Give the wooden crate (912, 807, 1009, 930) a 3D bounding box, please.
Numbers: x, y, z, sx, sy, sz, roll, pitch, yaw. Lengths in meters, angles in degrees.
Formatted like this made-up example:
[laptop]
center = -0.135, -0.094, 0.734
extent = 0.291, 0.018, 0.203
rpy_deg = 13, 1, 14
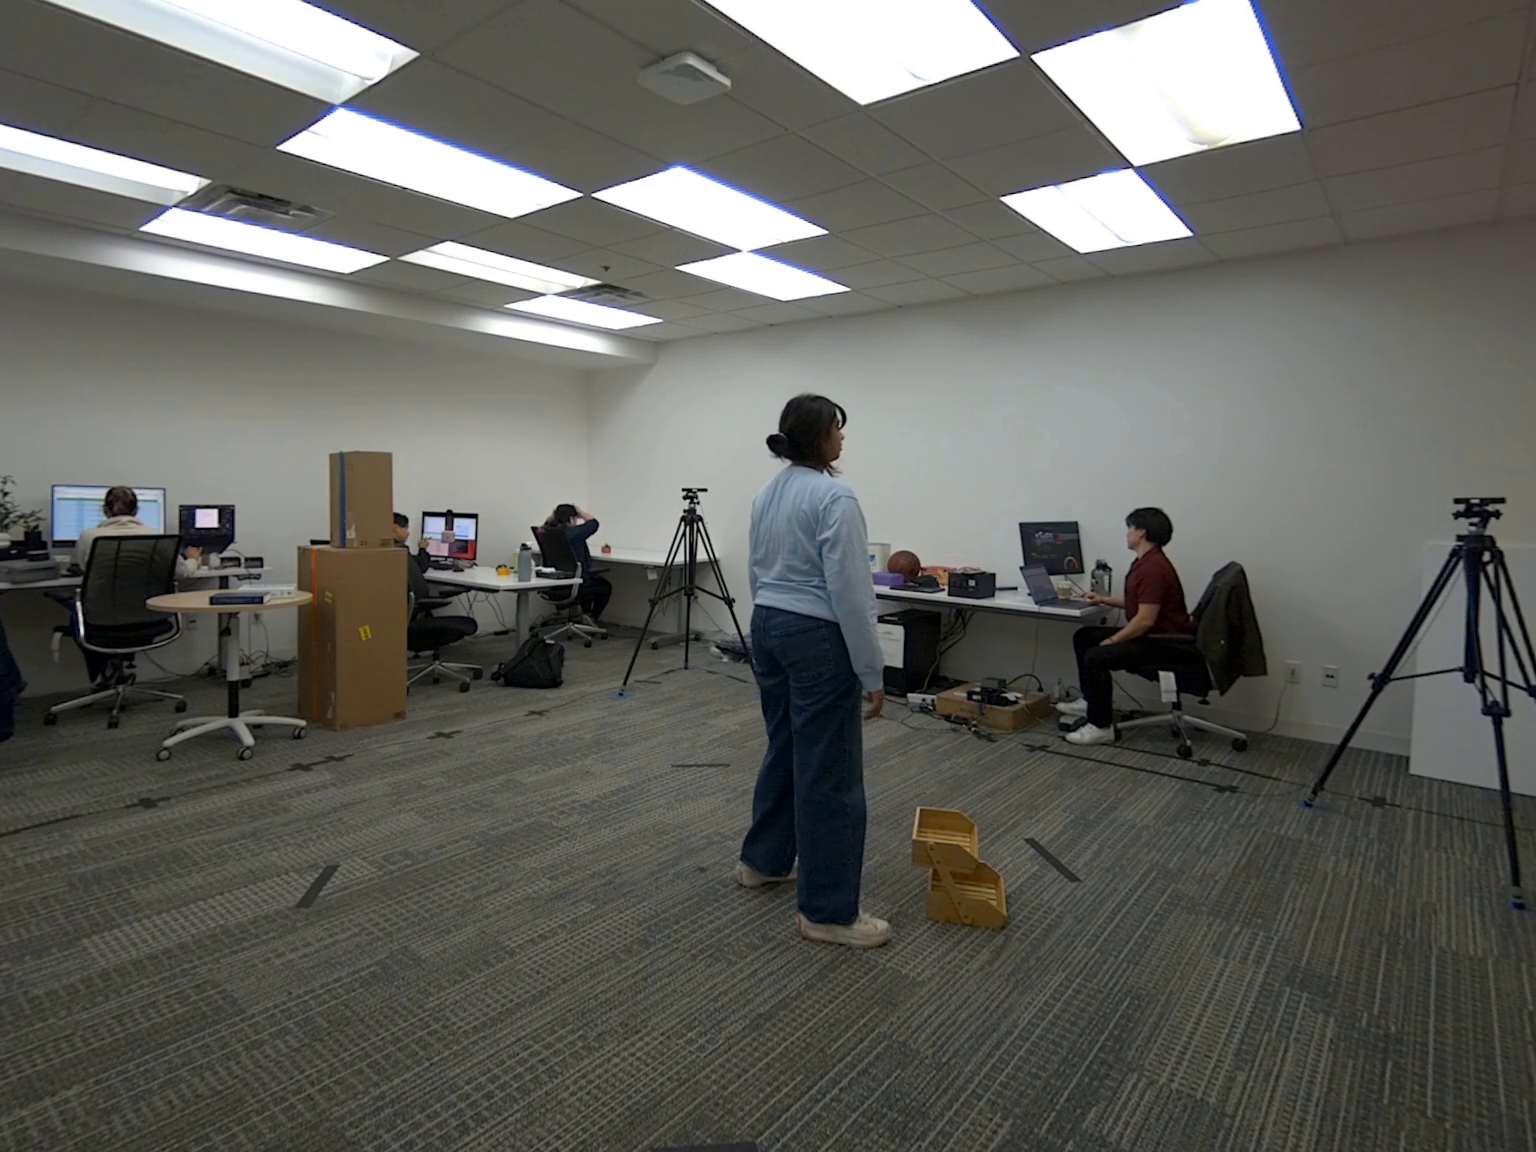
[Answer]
[wooden crate]
center = 0.651, 0.983, 2.906
extent = 0.307, 0.272, 0.320
rpy_deg = 1, 4, 13
